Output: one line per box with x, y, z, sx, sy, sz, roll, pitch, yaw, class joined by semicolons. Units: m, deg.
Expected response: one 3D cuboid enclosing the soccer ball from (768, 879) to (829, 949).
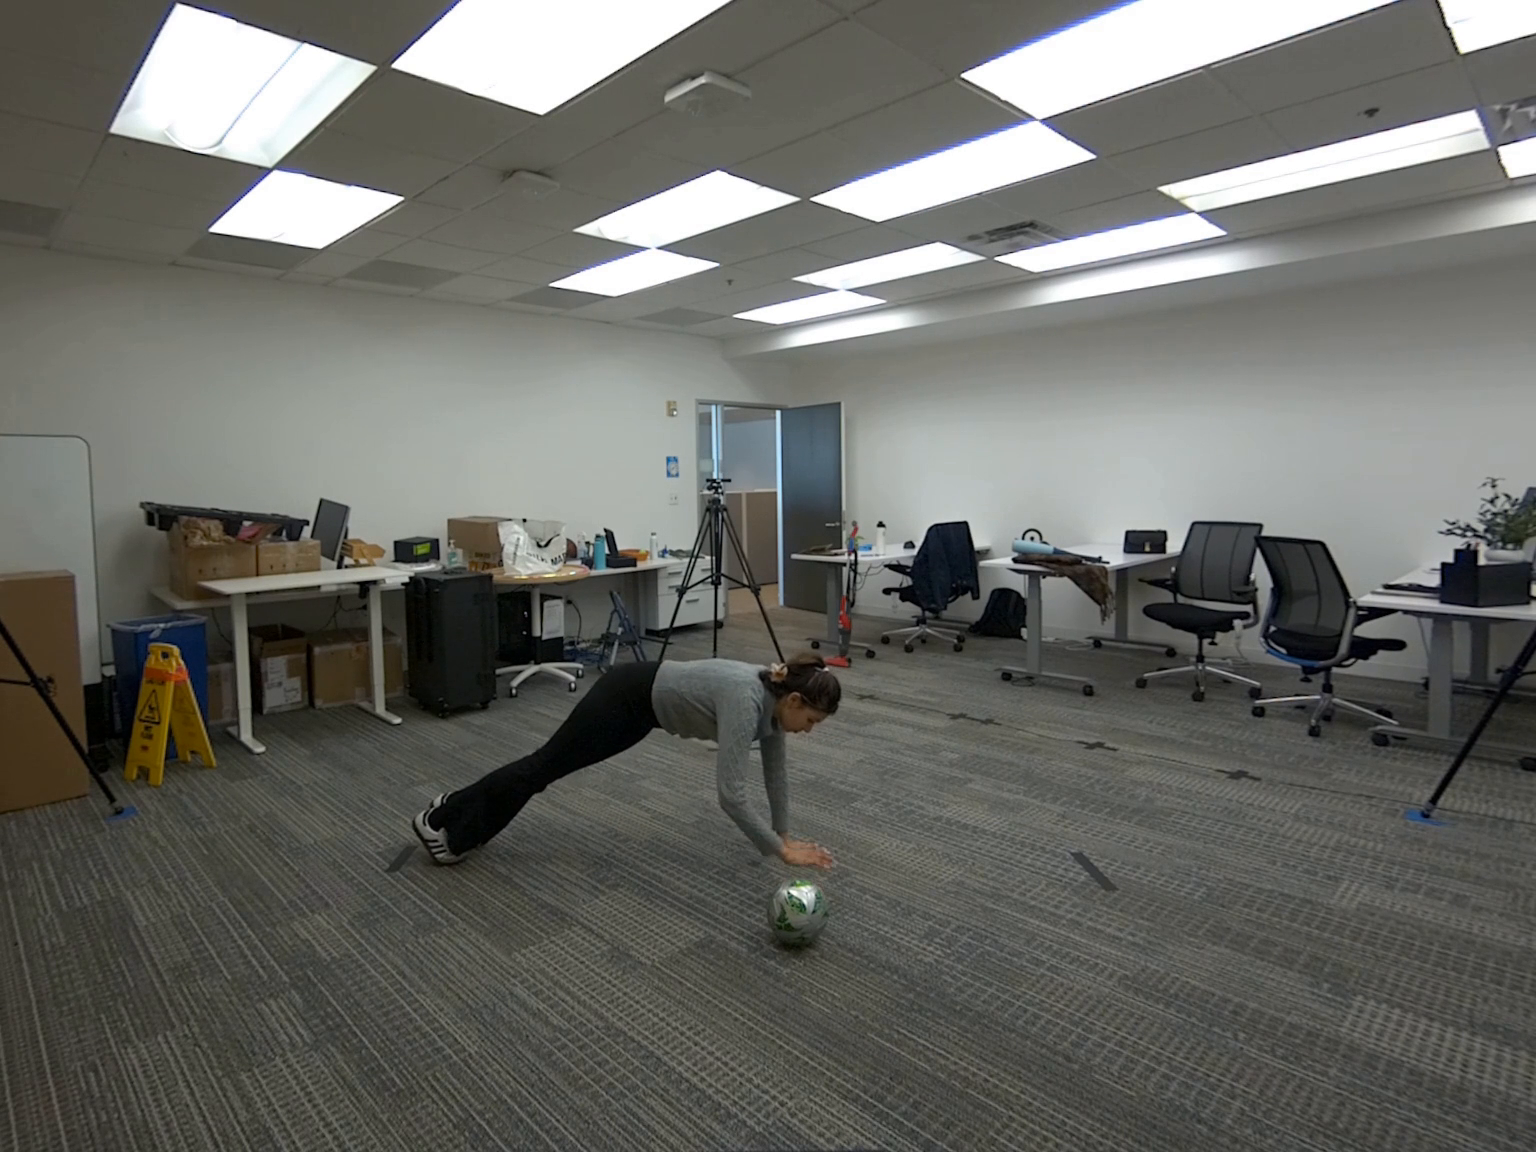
0.089;1.013;2.579;0.187;0.187;0.188;-1;5;-2;soccer ball
